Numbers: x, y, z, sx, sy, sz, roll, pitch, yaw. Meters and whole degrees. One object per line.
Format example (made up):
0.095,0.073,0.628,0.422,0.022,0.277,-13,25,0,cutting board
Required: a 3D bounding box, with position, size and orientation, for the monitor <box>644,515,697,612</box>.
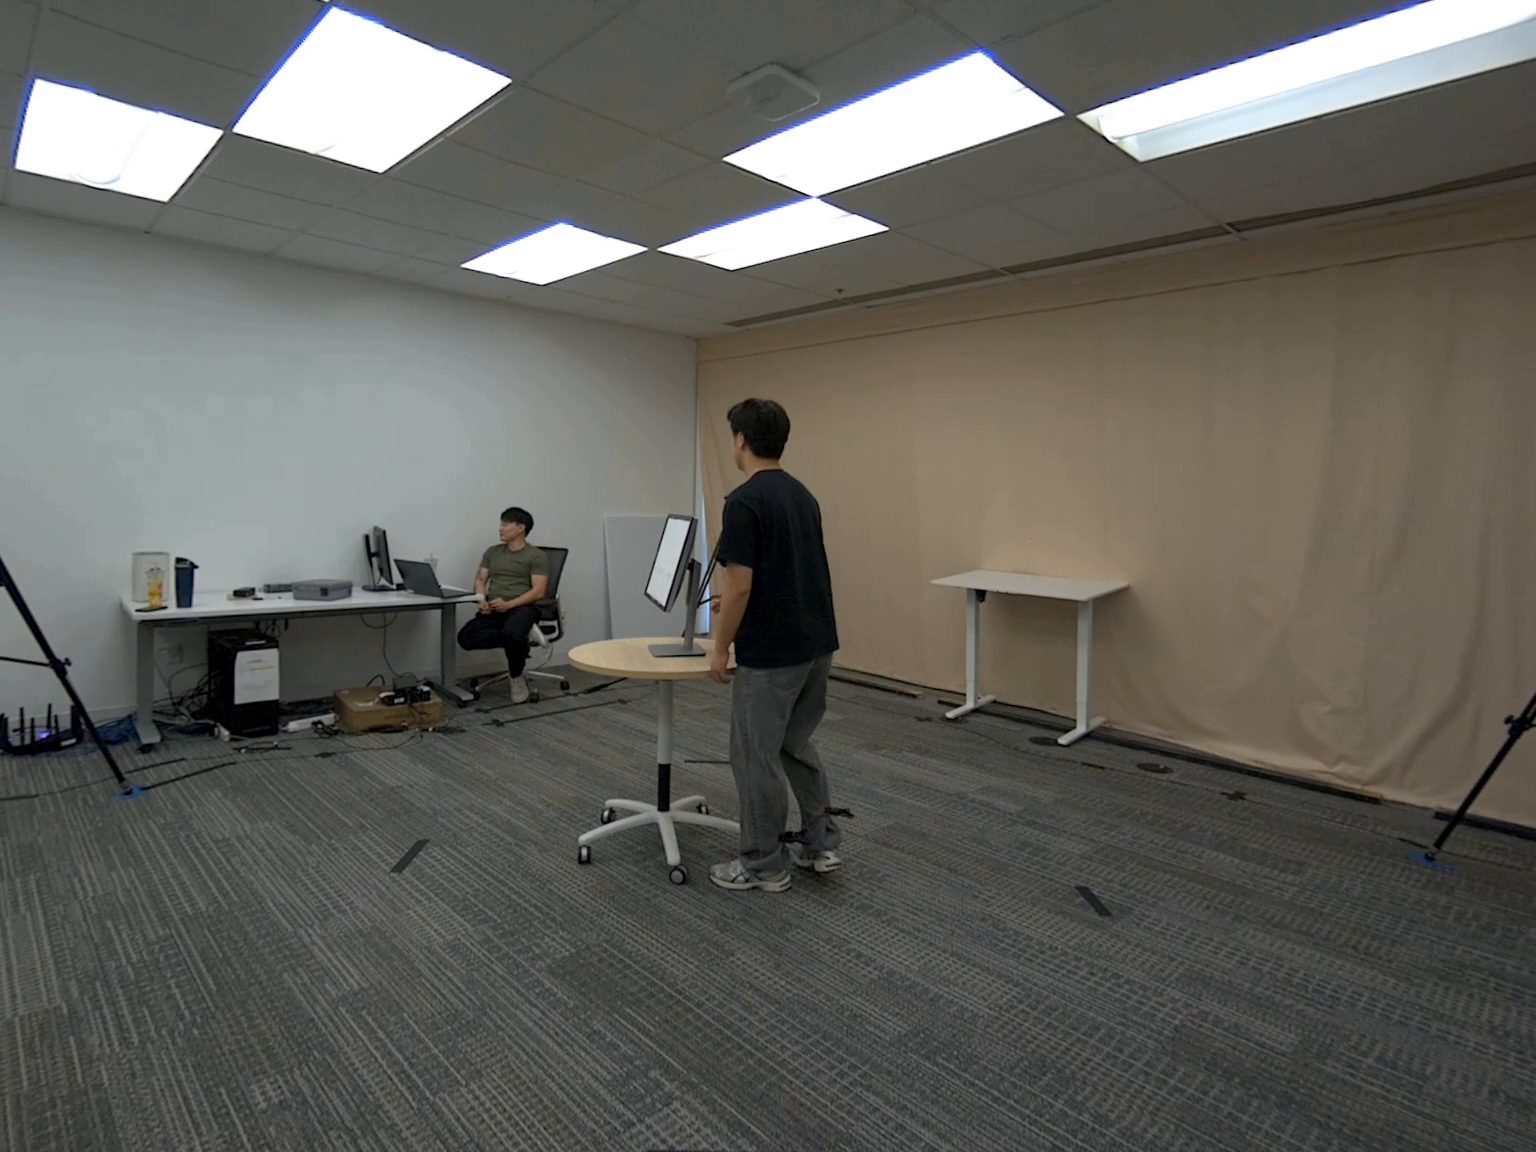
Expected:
-0.371,0.040,3.342,0.220,0.565,0.568,0,4,-12,monitor
